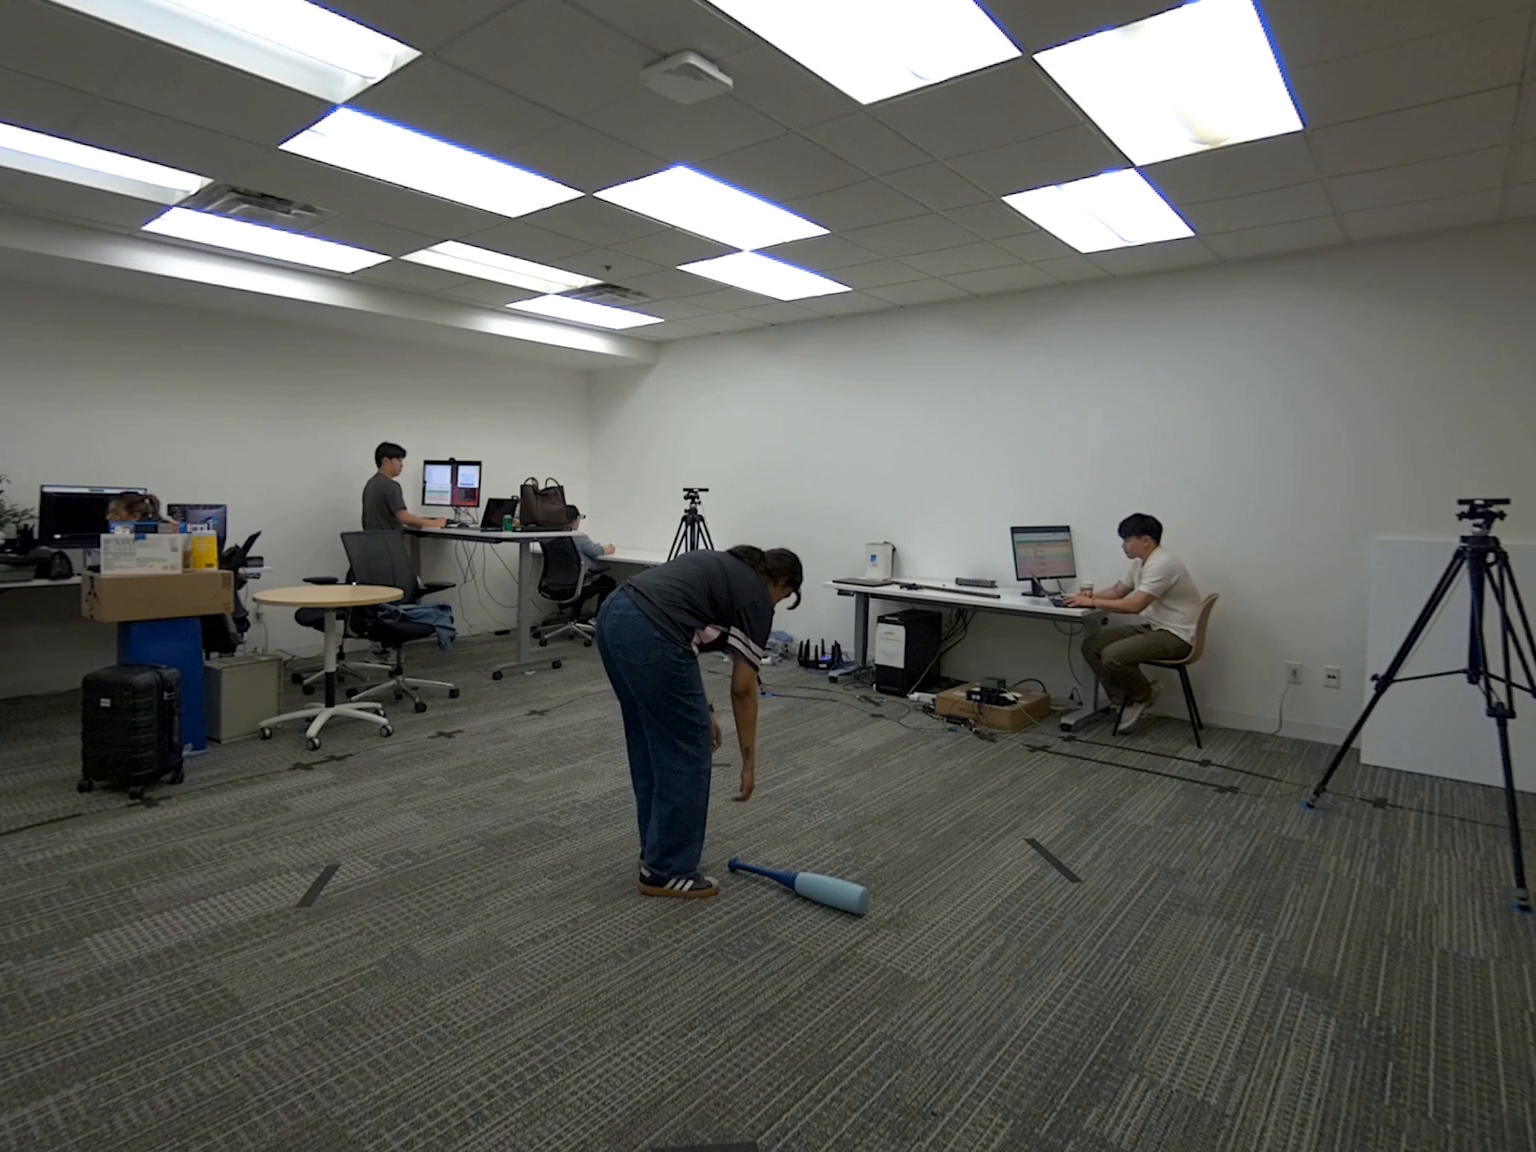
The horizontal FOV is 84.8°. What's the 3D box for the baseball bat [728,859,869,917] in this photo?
[{"bbox_3d":[0.084,1.059,2.944,0.560,0.089,0.086,2,4,36],"label":"baseball bat"}]
